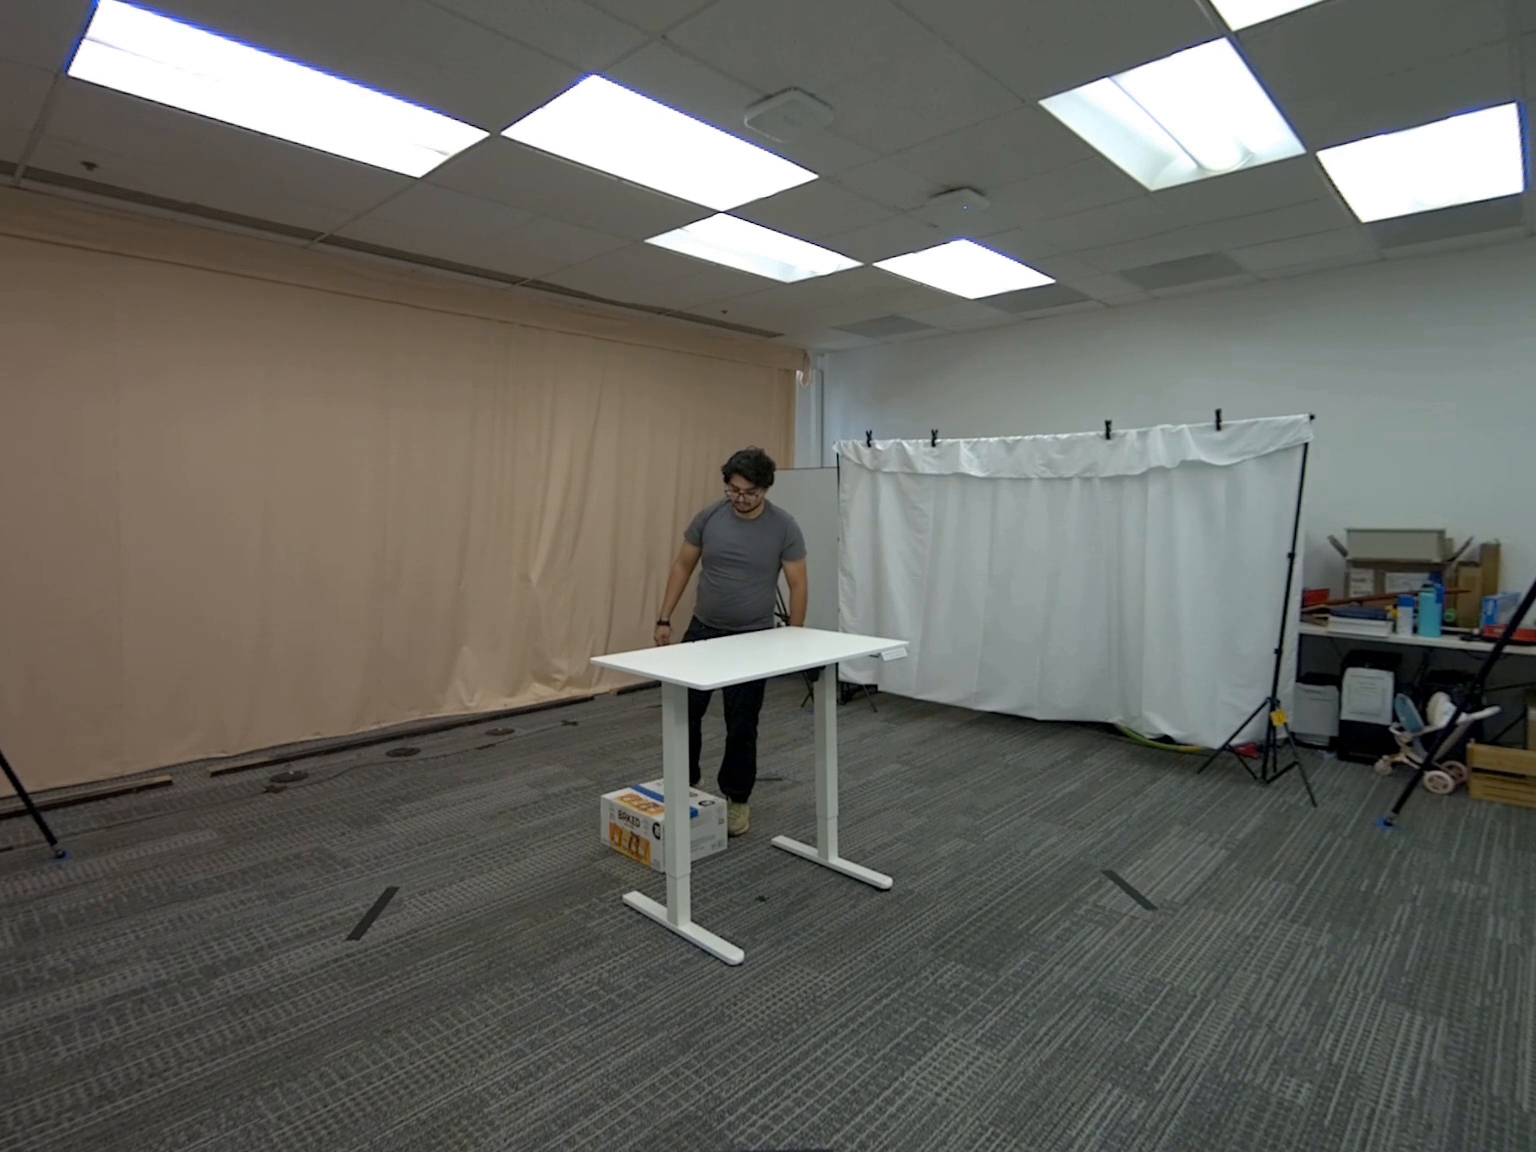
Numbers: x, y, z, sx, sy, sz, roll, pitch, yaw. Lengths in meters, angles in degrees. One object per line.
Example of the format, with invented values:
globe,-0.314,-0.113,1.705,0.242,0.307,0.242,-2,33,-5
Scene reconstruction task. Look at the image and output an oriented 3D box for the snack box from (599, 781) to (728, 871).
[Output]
snack box,-0.430,1.009,3.440,0.330,0.205,0.418,-5,6,-43
